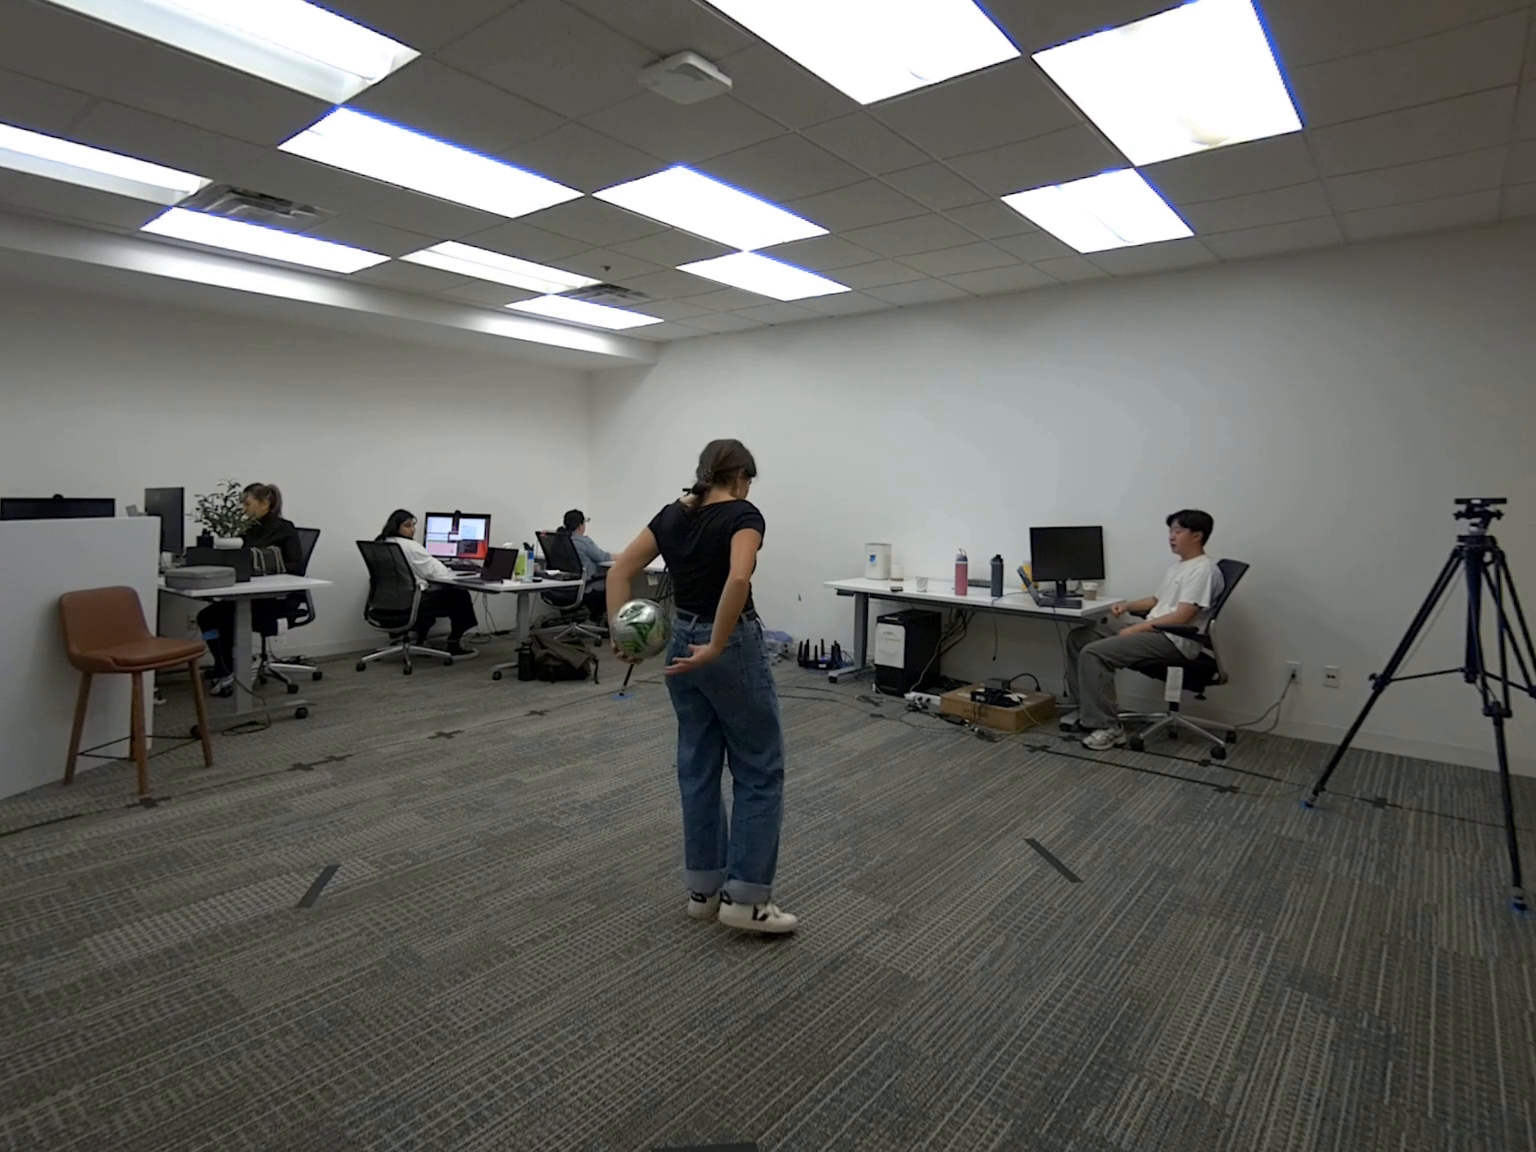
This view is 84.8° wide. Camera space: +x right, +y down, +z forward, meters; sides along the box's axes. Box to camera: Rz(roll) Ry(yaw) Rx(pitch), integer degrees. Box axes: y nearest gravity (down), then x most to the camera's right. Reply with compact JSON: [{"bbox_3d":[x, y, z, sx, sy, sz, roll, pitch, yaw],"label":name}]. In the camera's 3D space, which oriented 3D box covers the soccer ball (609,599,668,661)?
[{"bbox_3d":[-0.382,0.172,2.635,0.187,0.187,0.188,1,4,-2],"label":"soccer ball"}]
